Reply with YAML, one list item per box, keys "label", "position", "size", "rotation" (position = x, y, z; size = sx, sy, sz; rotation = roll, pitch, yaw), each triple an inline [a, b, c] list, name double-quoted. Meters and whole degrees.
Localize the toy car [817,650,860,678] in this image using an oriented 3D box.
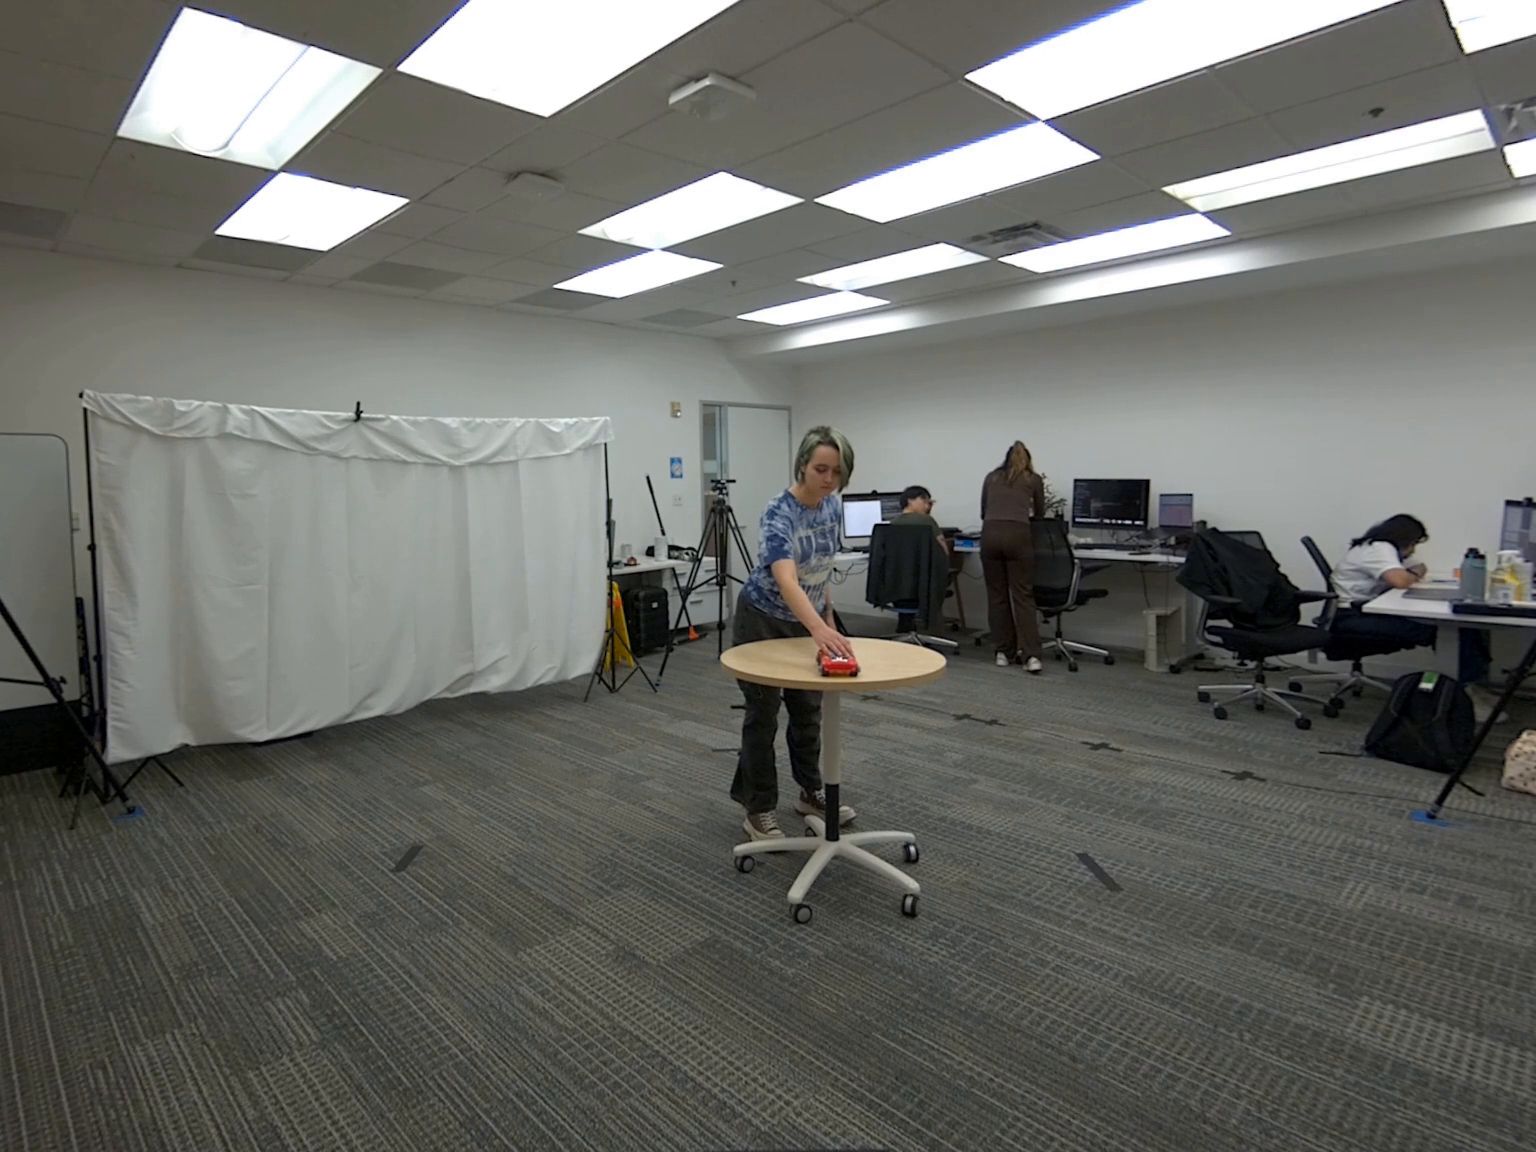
- label: "toy car"
  position: [0.226, 0.271, 2.738]
  size: [0.130, 0.082, 0.258]
  rotation: [-3, 16, 1]
